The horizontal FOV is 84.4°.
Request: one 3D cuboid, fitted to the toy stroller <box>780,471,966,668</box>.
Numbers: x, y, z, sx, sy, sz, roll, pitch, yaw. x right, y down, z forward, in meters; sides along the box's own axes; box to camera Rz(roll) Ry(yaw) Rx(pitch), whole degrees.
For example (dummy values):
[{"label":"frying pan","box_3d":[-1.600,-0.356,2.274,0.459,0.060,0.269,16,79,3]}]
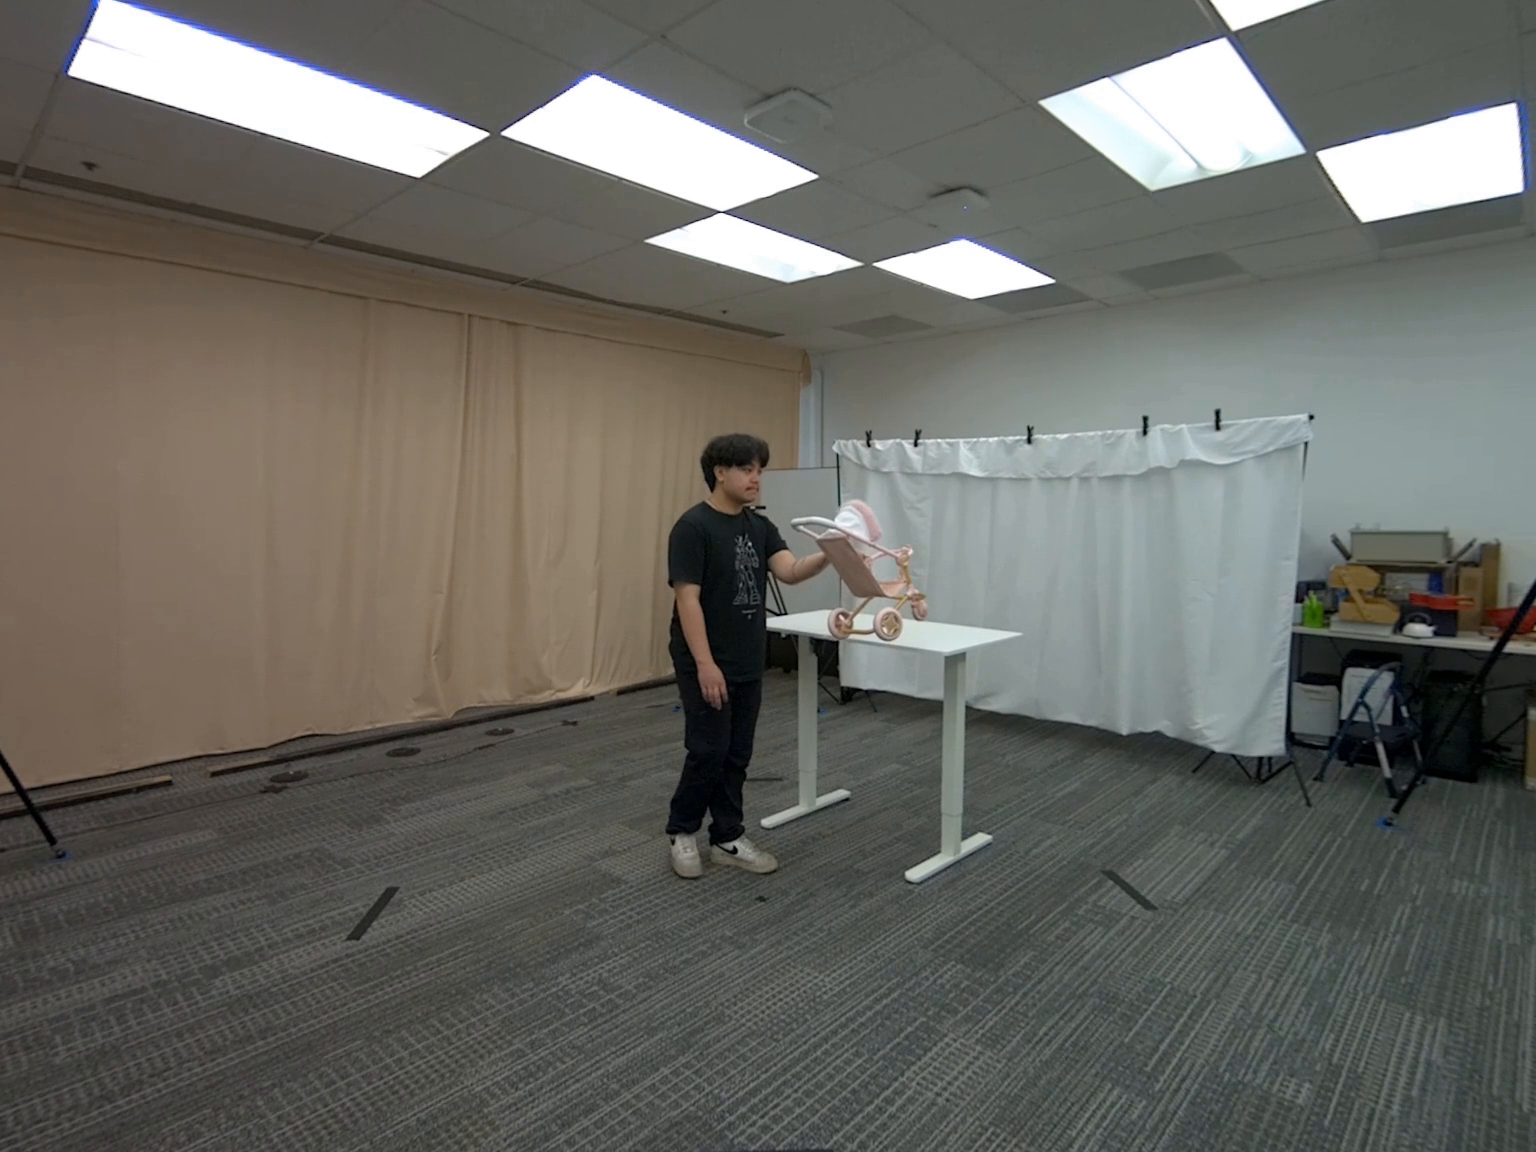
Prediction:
[{"label":"toy stroller","box_3d":[0.351,-0.023,2.854,0.336,0.530,0.288,-29,10,-25]}]
